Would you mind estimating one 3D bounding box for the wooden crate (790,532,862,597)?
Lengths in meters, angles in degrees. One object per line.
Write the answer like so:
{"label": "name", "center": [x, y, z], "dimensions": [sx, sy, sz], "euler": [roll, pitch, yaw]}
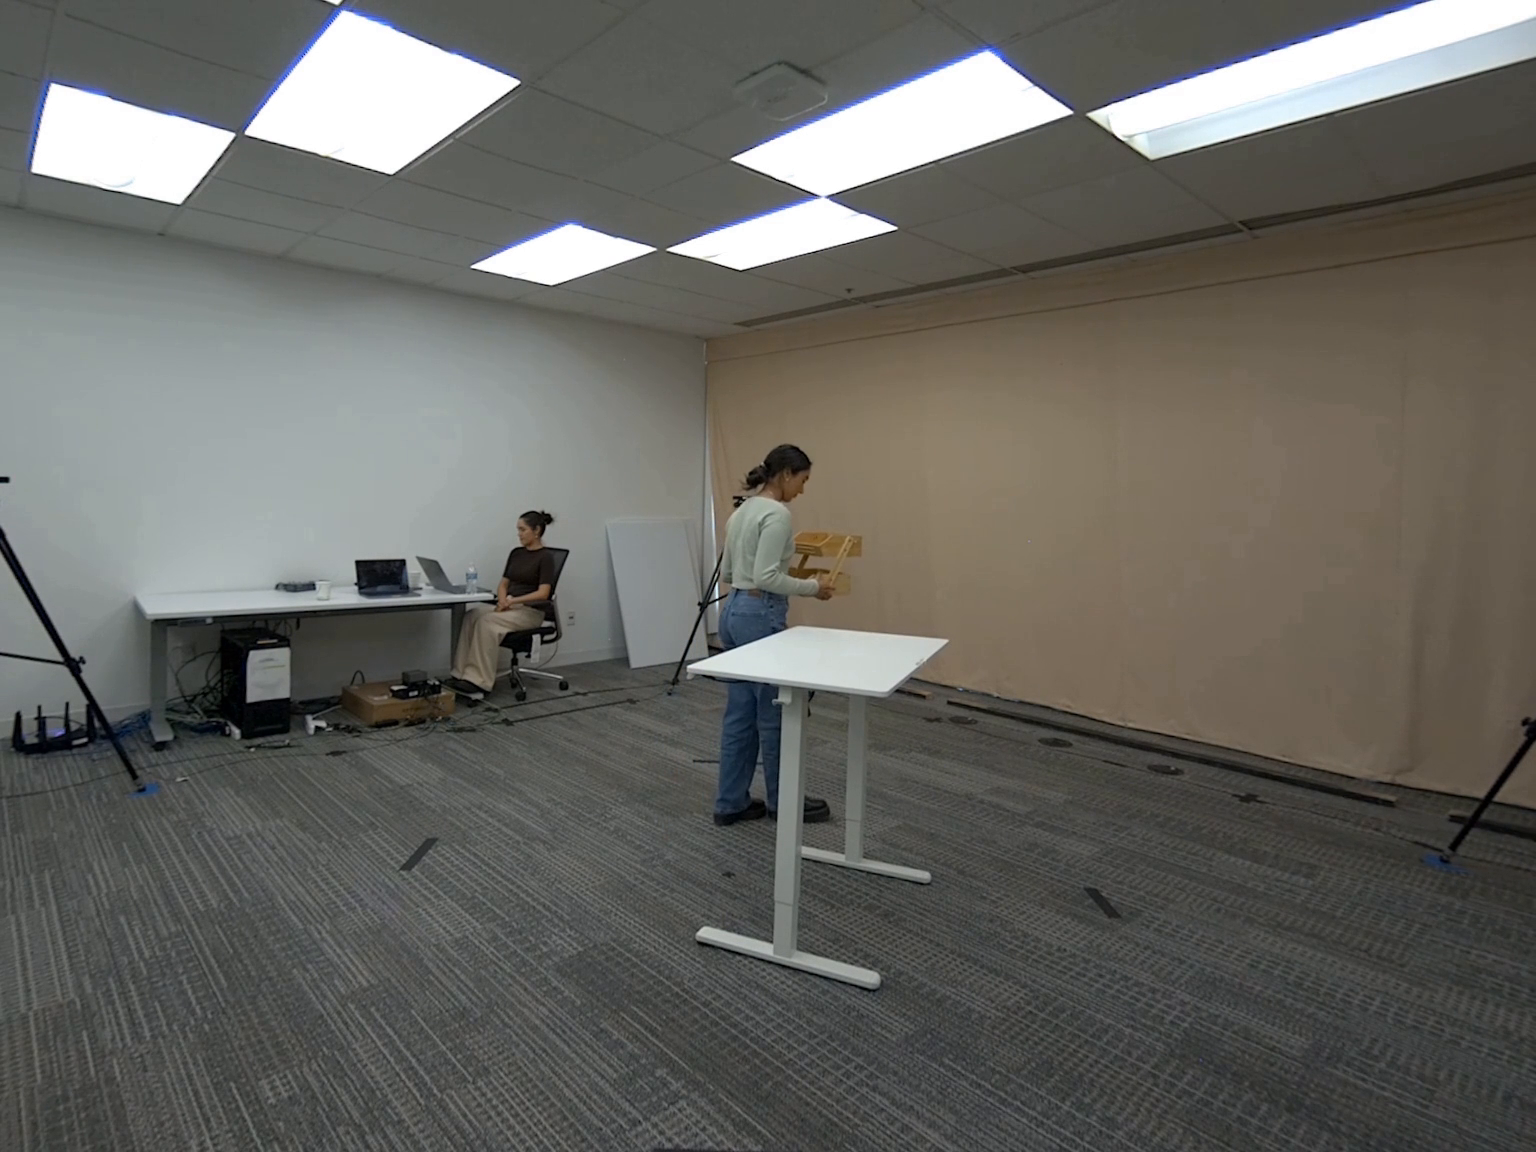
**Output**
{"label": "wooden crate", "center": [0.201, -0.067, 3.756], "dimensions": [0.297, 0.272, 0.331], "euler": [-1, 5, -24]}
